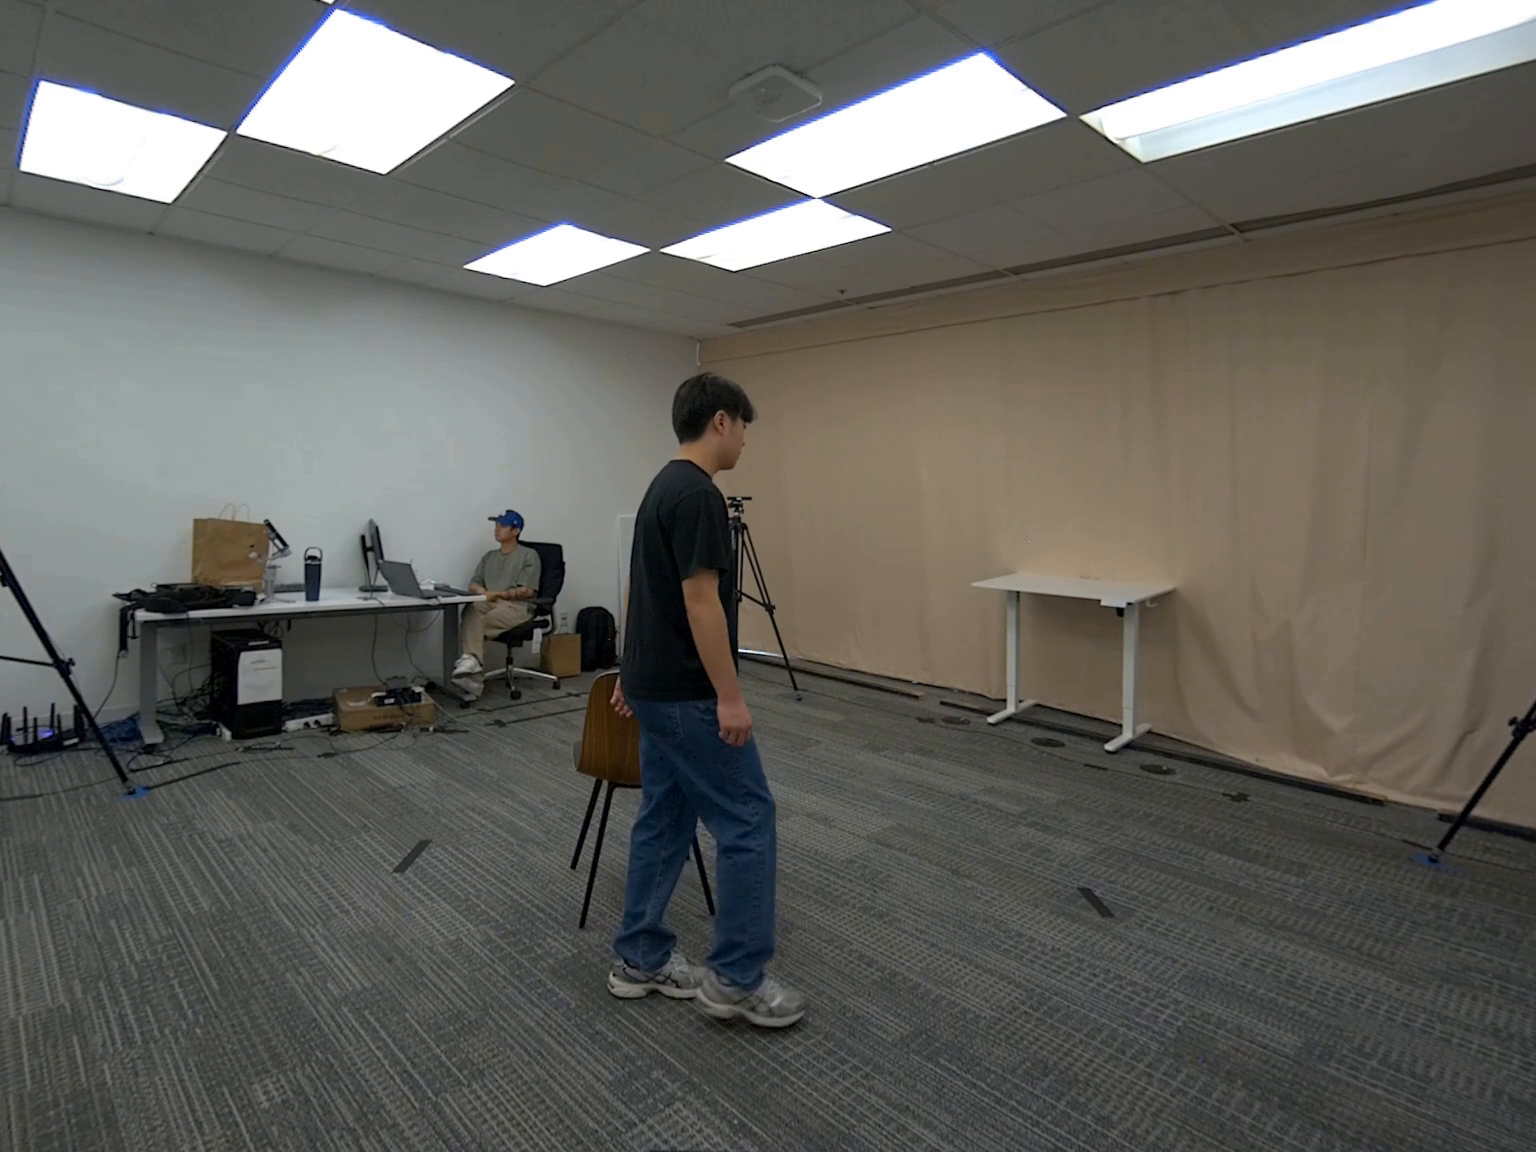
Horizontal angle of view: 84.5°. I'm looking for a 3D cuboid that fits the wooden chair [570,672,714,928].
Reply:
[{"bbox_3d":[-0.446,0.689,2.943,0.473,0.872,0.532,0,8,-15],"label":"wooden chair"}]
